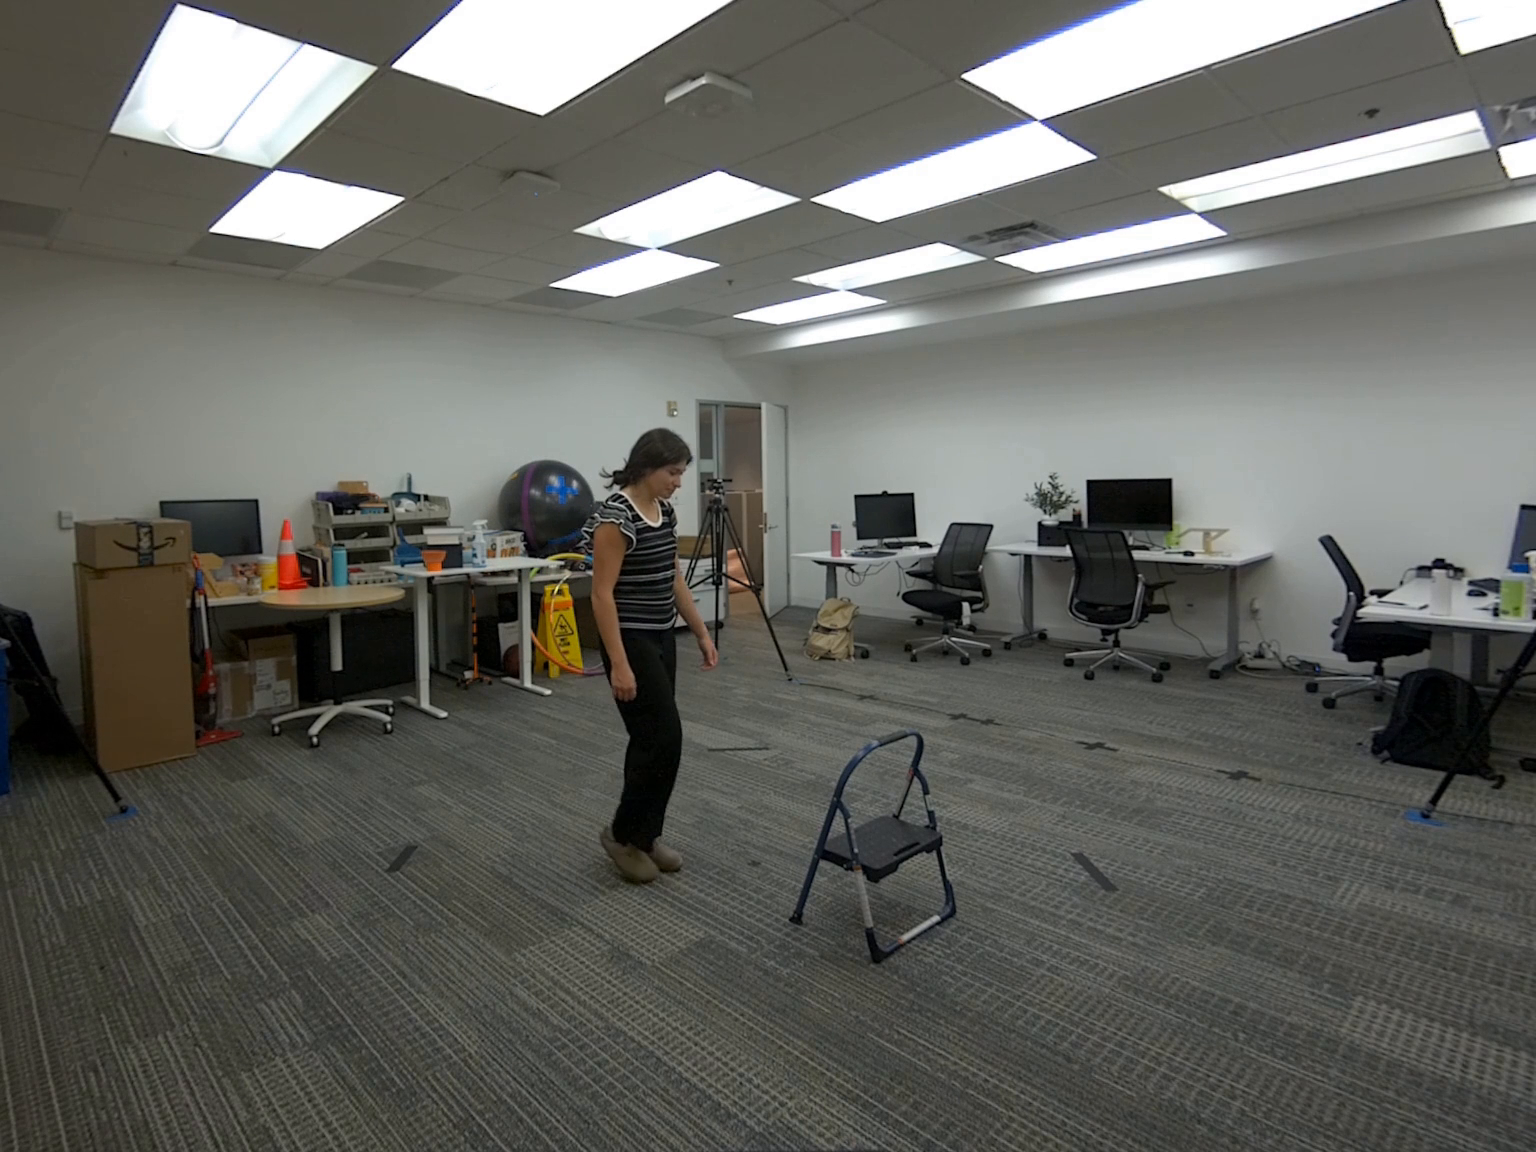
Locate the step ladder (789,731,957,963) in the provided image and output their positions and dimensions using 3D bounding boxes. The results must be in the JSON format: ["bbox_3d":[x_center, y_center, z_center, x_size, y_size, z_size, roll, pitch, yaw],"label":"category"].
[{"bbox_3d":[0.334,0.785,2.689,0.419,0.604,0.360,-6,6,-44],"label":"step ladder"}]
